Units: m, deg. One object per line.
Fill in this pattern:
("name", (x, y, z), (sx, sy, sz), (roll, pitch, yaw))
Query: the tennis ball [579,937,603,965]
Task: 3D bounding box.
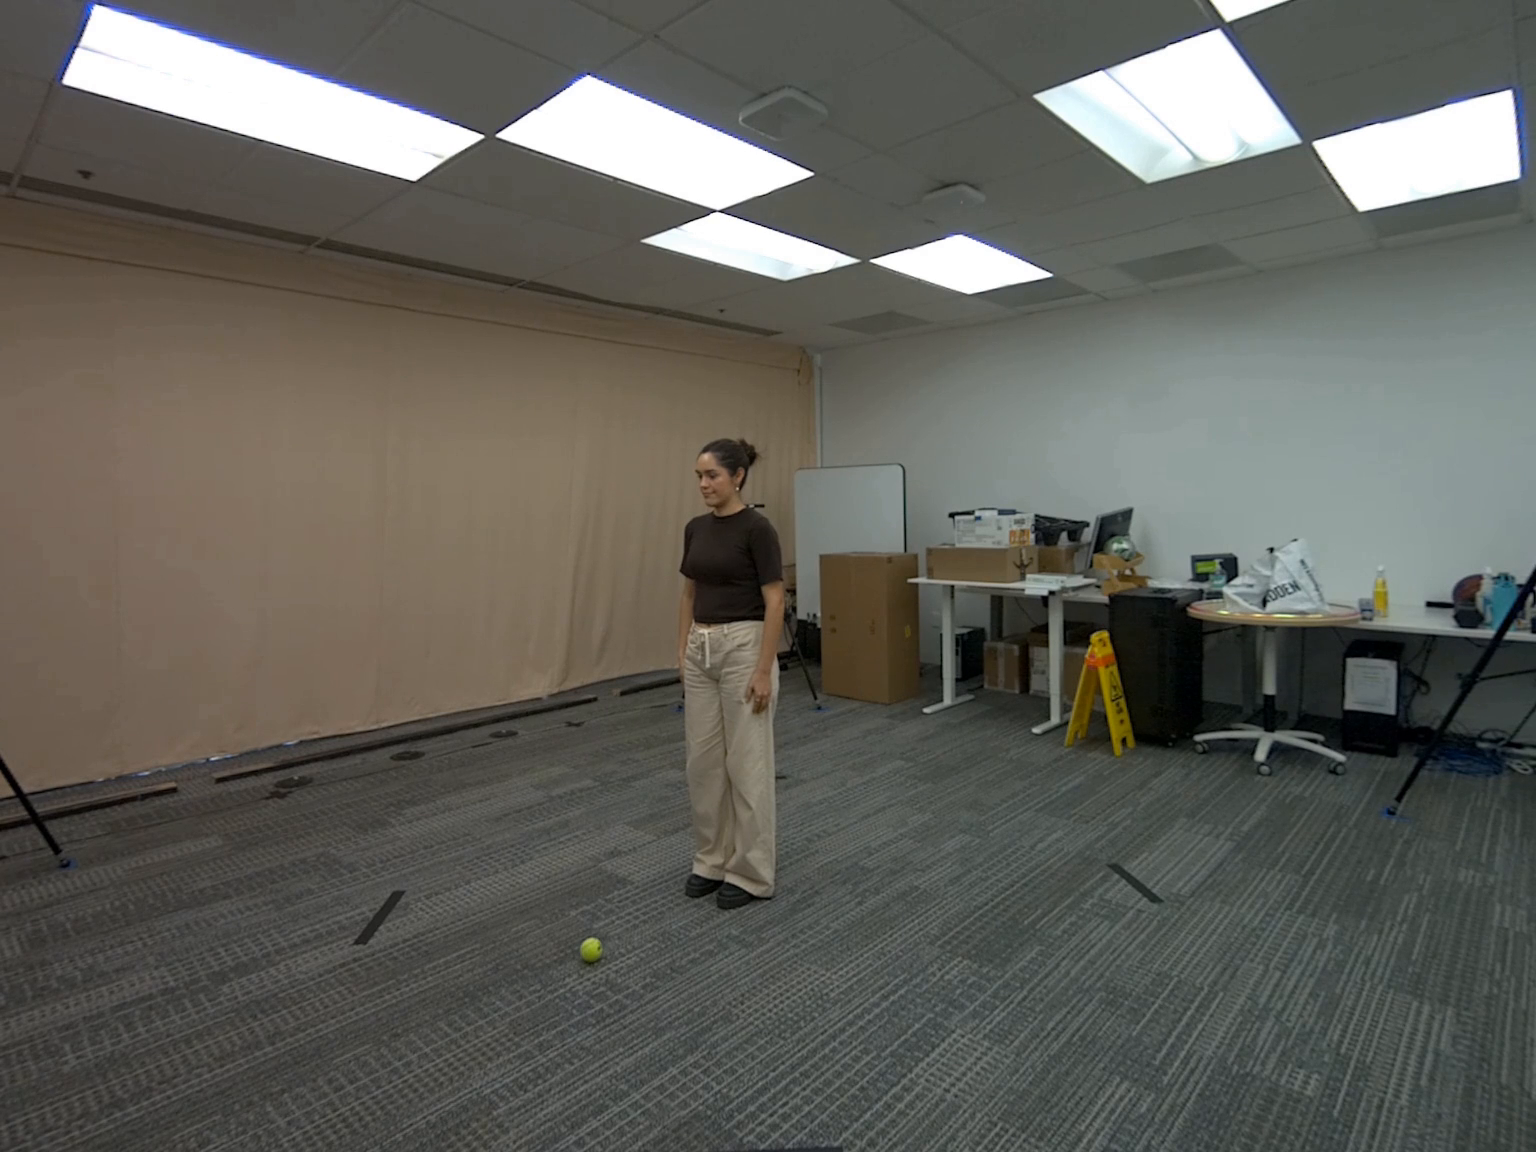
("tennis ball", (-0.545, 1.136, 2.586), (0.066, 0.066, 0.067), (-1, 4, -2))
